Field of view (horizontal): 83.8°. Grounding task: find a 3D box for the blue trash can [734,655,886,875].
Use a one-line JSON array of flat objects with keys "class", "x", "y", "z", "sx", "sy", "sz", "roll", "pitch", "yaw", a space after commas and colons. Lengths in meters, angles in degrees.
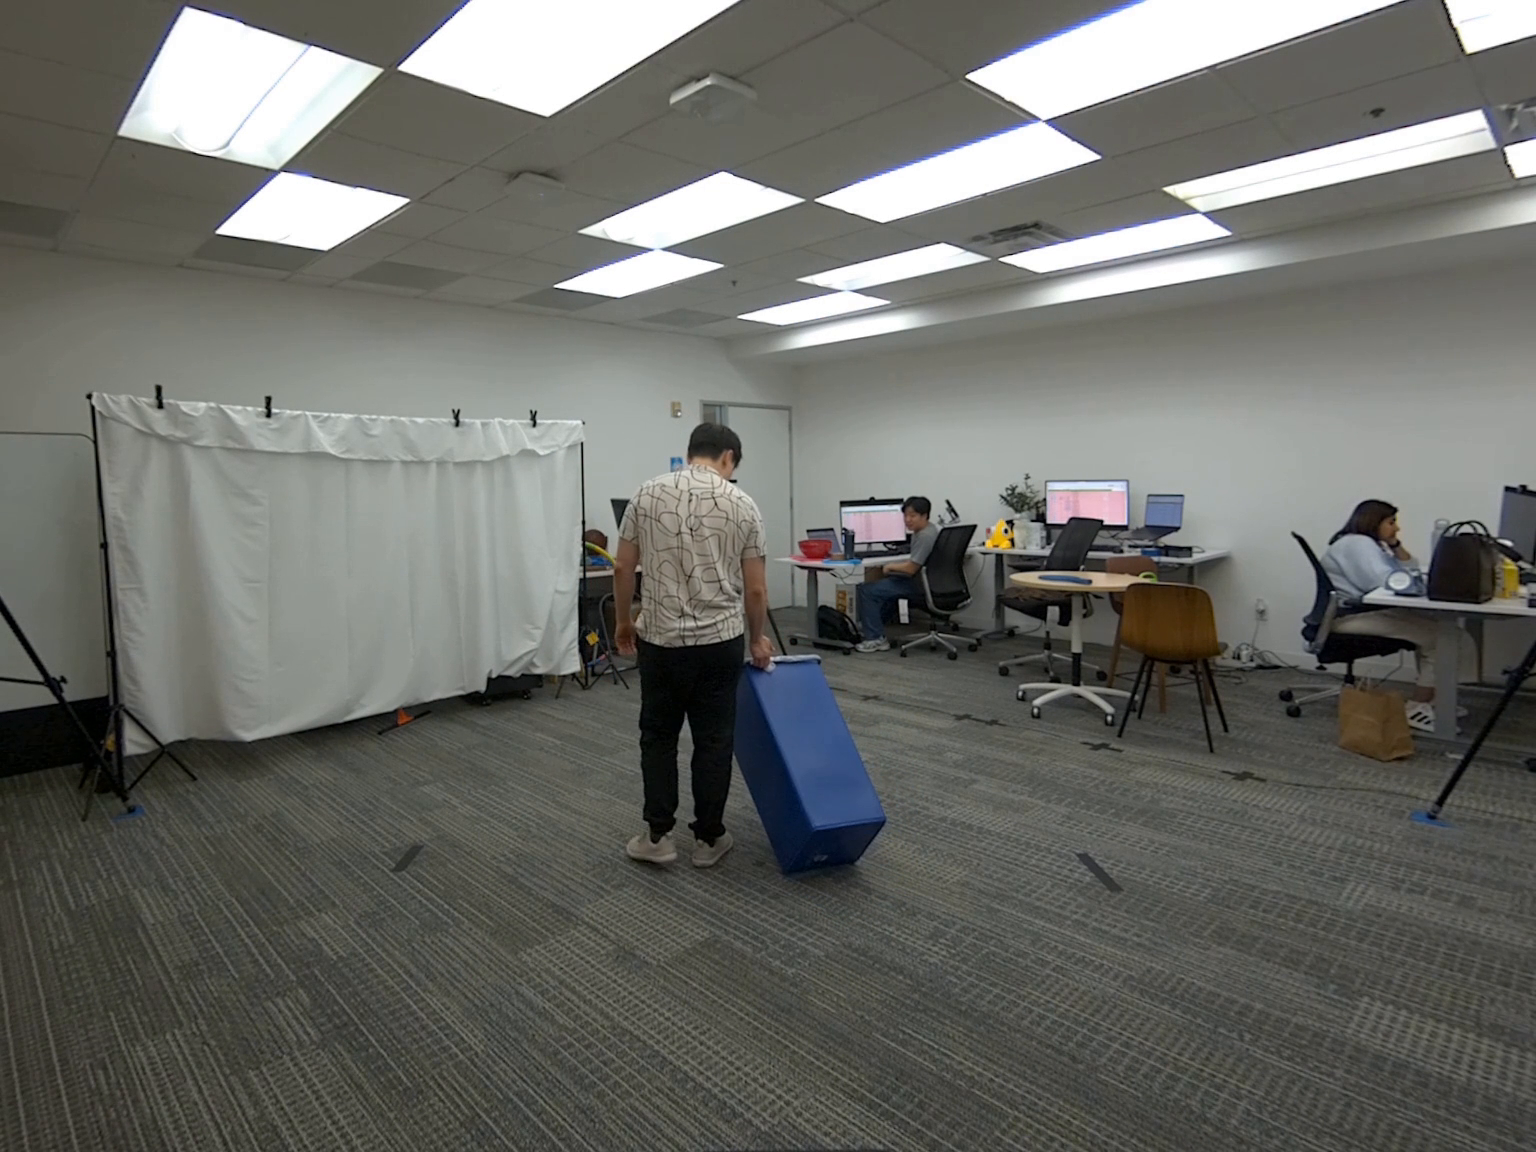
[{"class": "blue trash can", "x": 0.115, "y": 0.696, "z": 3.201, "sx": 0.370, "sy": 0.369, "sz": 0.740, "roll": 0, "pitch": 43, "yaw": -25}]
